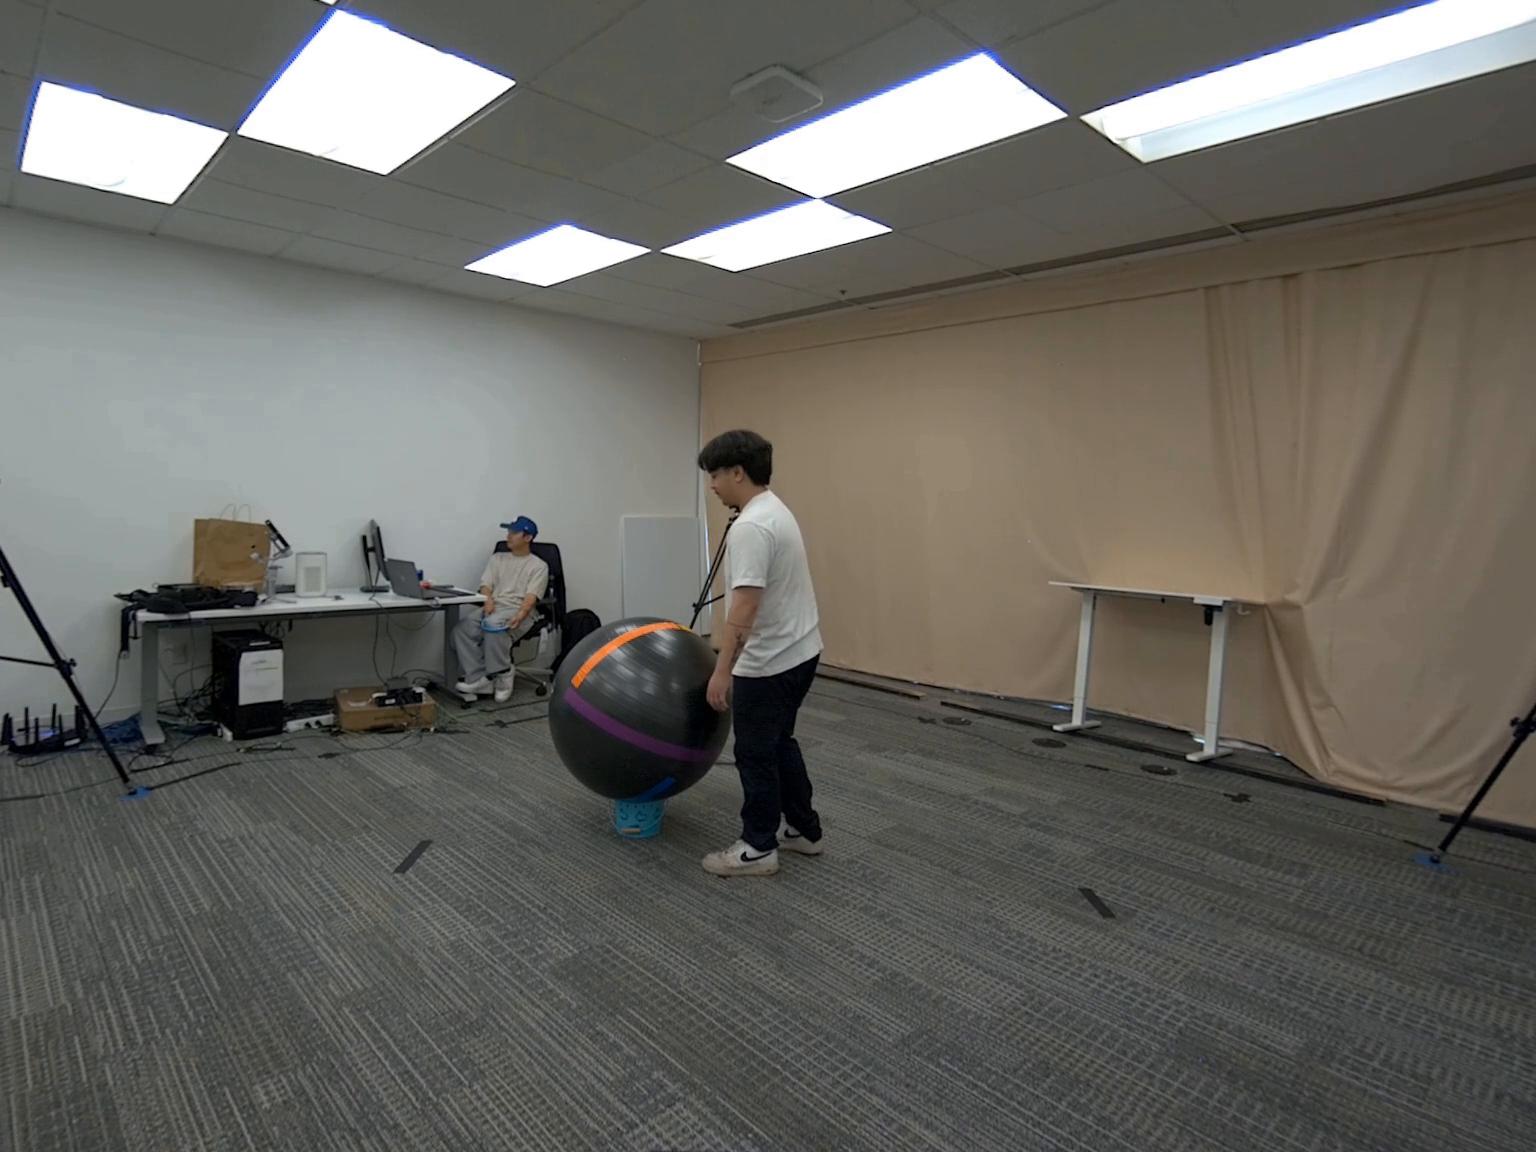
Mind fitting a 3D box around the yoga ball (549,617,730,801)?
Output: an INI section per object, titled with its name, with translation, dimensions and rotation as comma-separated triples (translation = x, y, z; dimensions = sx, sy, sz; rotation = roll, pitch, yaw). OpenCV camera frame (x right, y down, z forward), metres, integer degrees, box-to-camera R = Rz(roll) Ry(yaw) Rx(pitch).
[yoga ball]
translation = -0.530, 0.548, 3.508
dimensions = 0.757, 0.756, 0.761
rotation = 1, 4, -1
